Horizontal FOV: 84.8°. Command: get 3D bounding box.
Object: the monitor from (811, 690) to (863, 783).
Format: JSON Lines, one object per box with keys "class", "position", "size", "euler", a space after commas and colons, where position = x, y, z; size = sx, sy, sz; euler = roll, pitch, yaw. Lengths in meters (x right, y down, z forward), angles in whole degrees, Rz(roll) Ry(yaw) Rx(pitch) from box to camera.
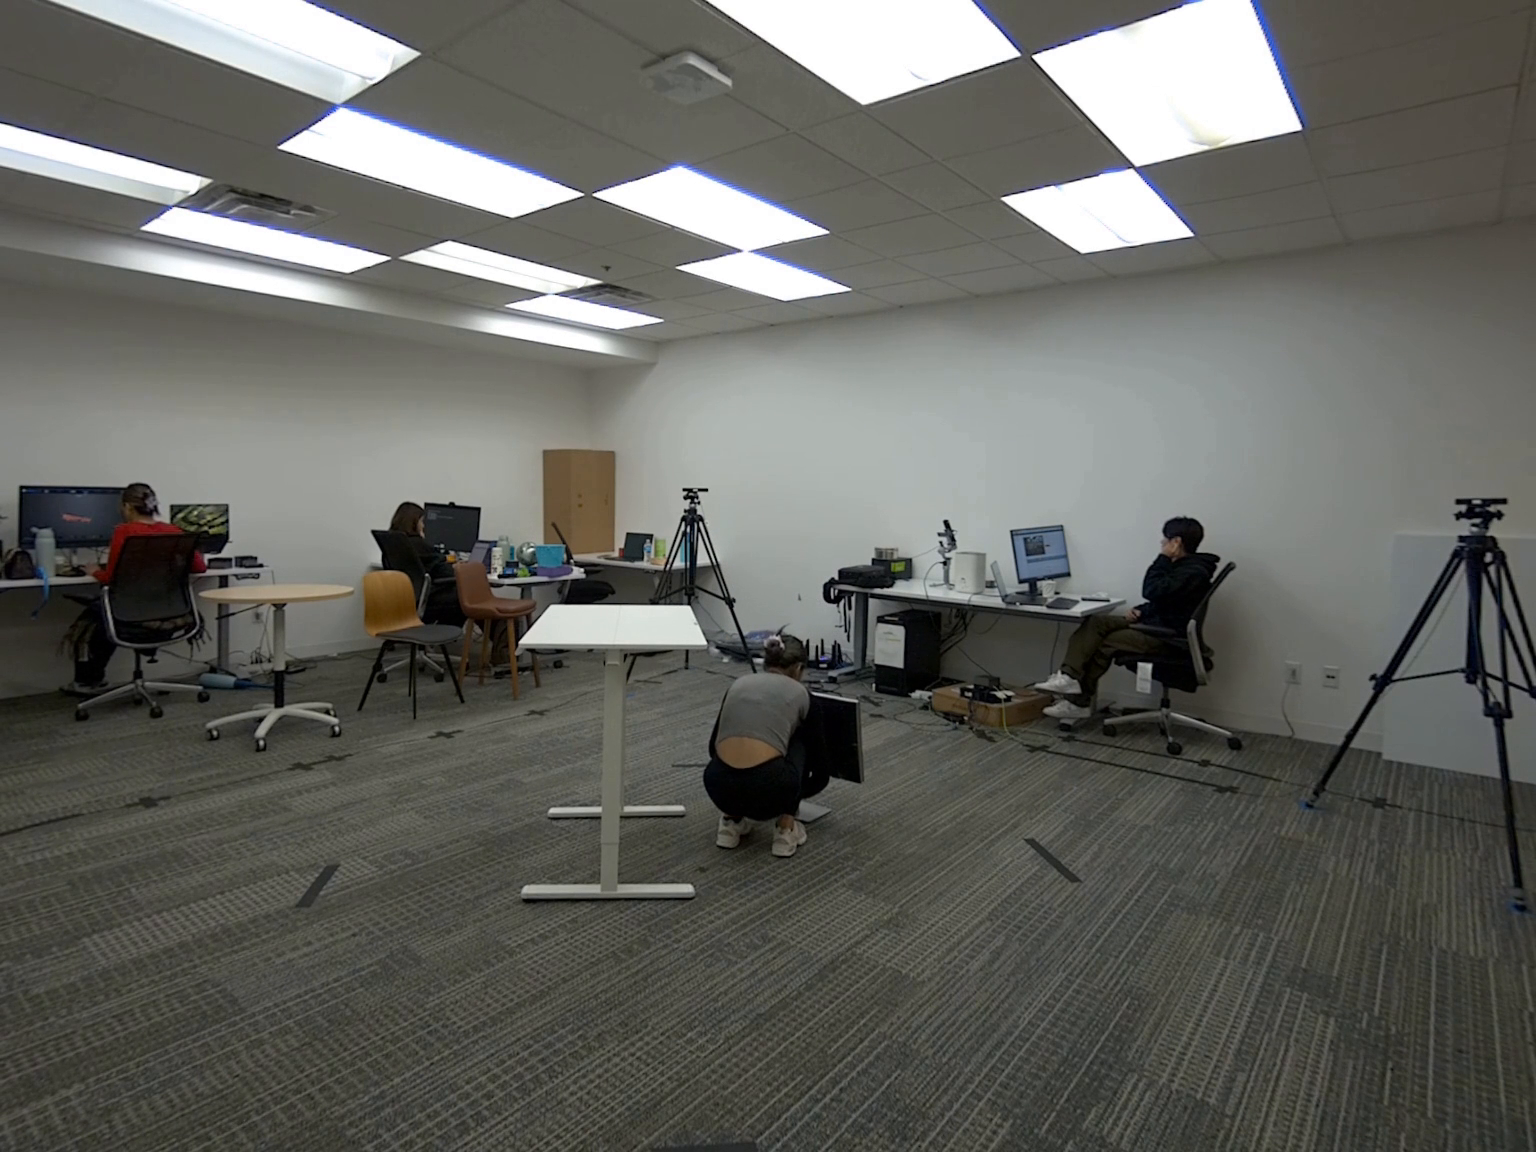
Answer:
{"class": "monitor", "position": [0.123, 0.756, 3.687], "size": [0.556, 0.522, 0.181], "euler": [4, 2, 35]}
